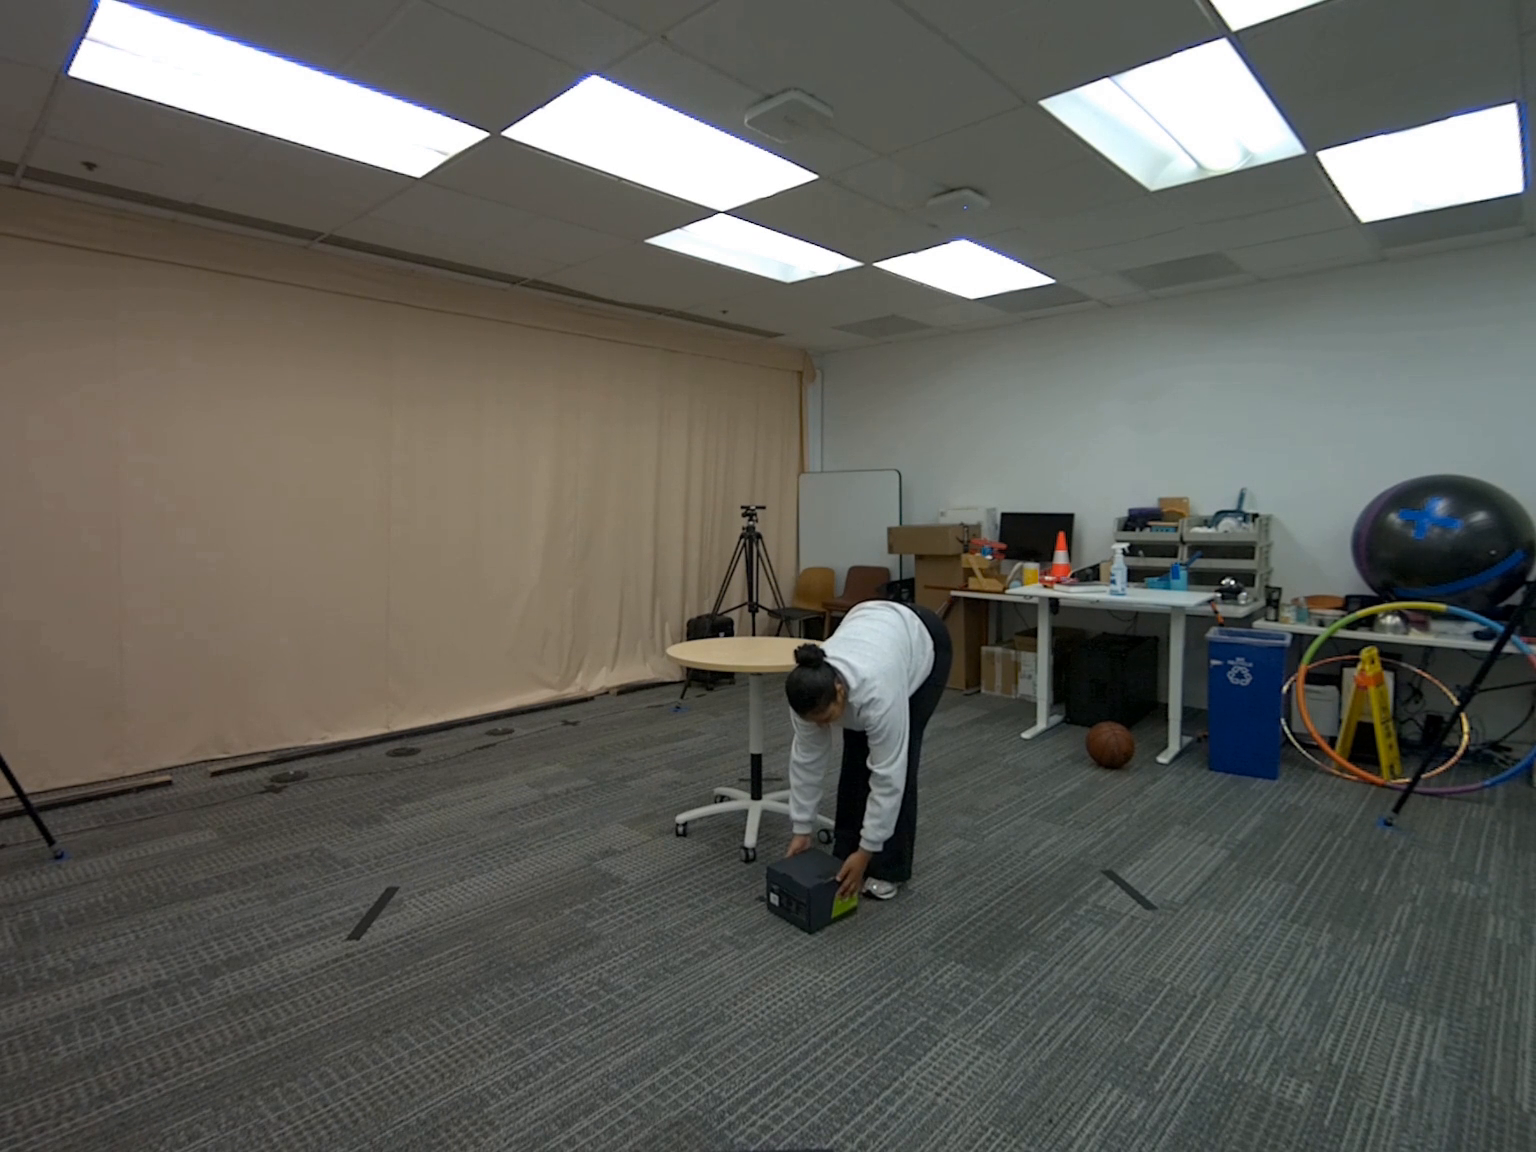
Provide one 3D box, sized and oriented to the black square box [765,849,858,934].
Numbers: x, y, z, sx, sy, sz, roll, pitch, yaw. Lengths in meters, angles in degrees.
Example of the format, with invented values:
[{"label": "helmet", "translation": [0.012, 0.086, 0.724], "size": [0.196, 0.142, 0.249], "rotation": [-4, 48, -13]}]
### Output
[{"label": "black square box", "translation": [0.154, 1.052, 2.876], "size": [0.221, 0.155, 0.224], "rotation": [-5, 6, -40]}]
